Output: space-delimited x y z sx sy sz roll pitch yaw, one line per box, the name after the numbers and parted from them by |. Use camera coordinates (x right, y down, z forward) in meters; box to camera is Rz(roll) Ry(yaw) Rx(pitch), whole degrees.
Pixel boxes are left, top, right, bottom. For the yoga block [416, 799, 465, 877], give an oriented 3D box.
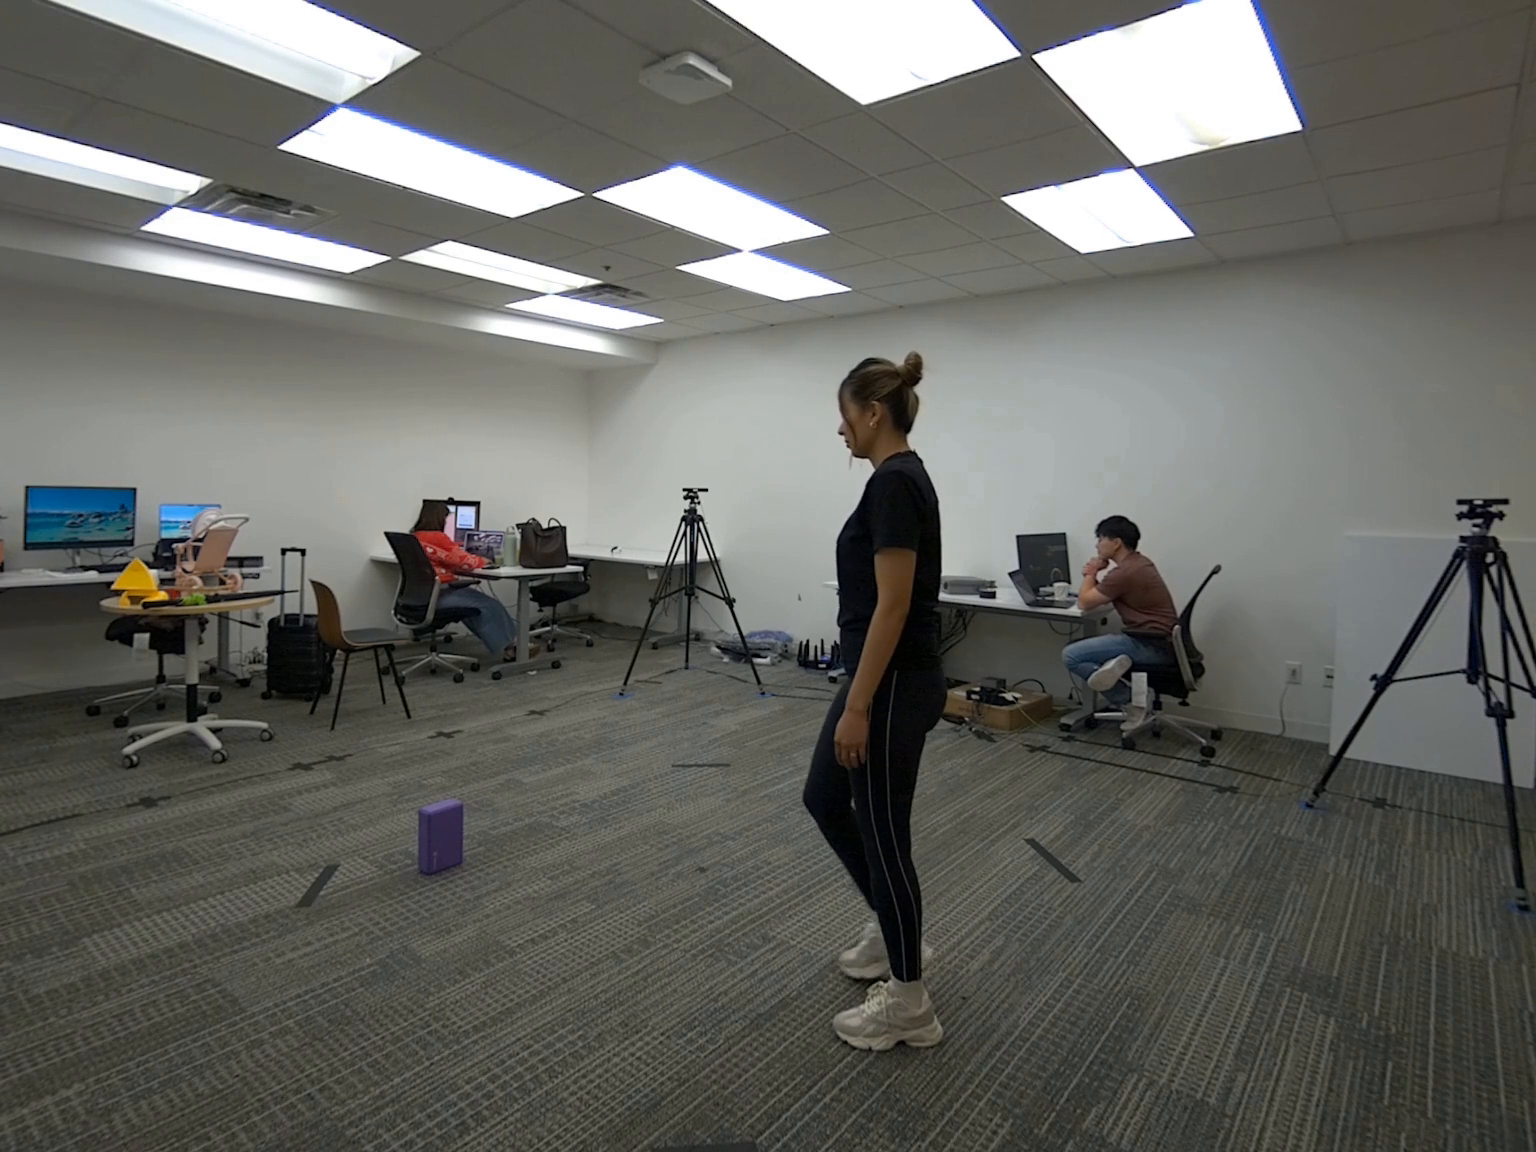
-1.202 0.942 3.084 0.079 0.229 0.144 4 4 36 | yoga block
